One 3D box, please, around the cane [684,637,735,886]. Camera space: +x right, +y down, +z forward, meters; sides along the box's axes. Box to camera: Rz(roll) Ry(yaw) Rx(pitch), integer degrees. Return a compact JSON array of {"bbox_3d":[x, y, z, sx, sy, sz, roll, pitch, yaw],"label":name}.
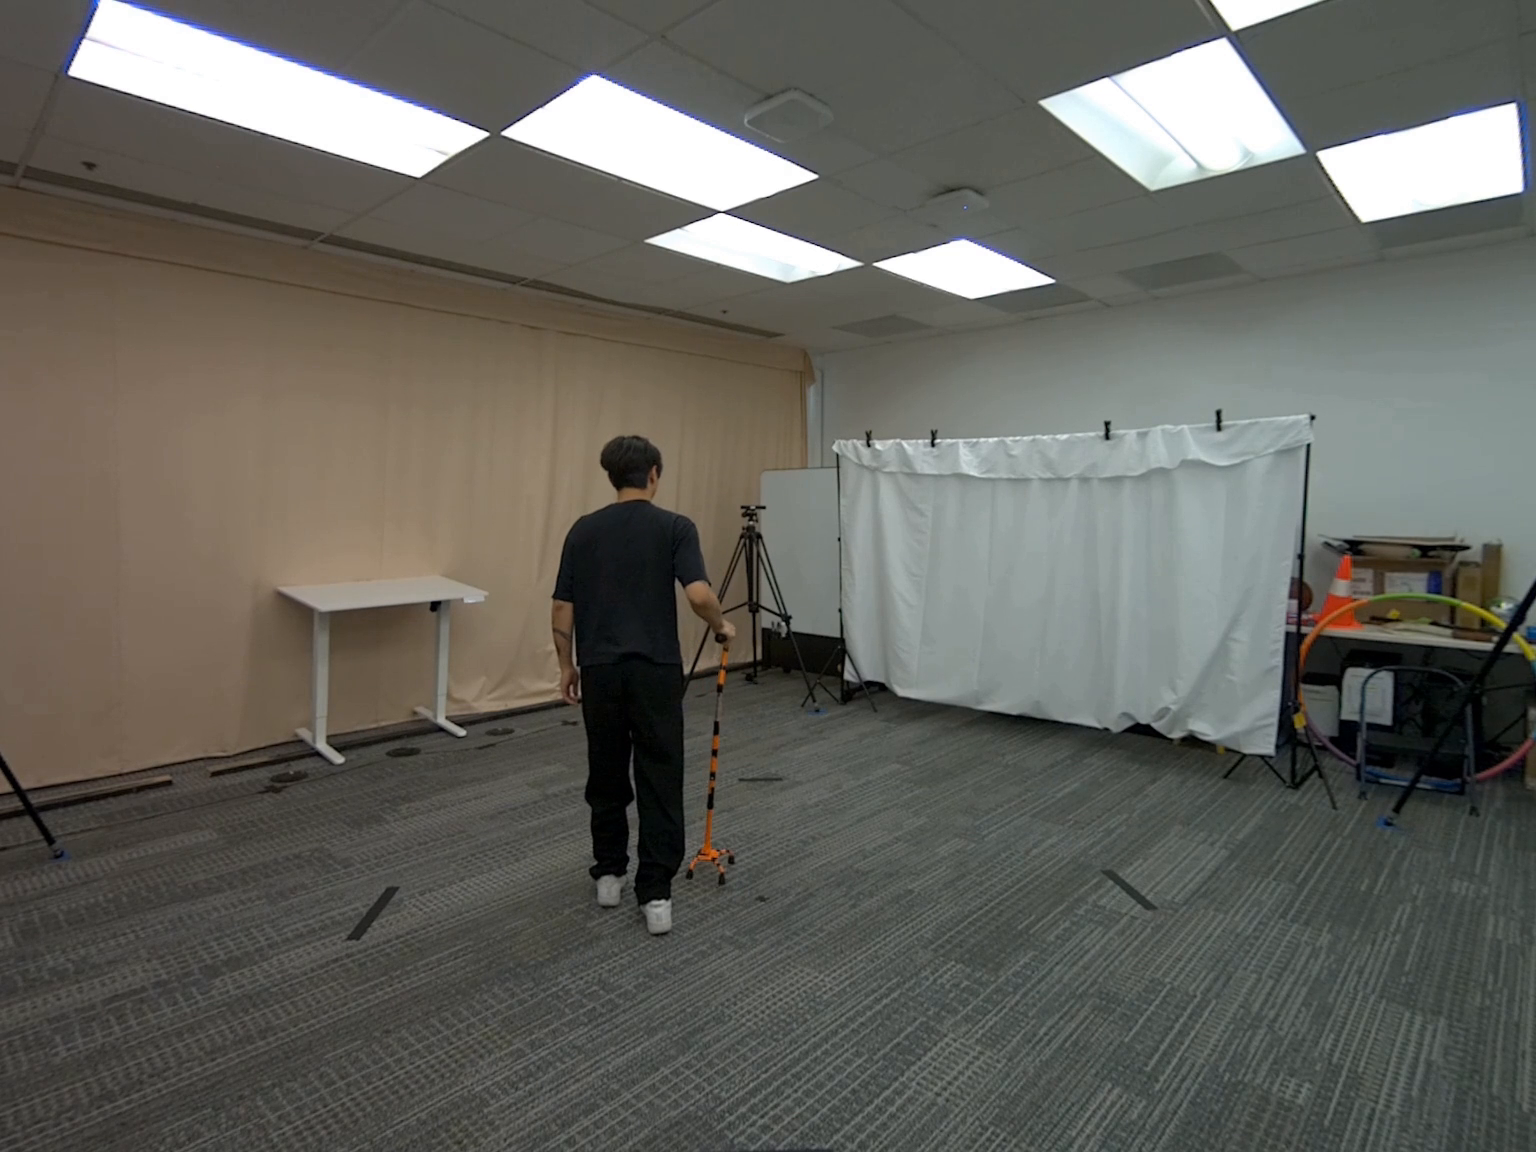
[{"bbox_3d":[-0.177,0.663,3.136,0.153,0.906,0.205,4,3,7],"label":"cane"}]
